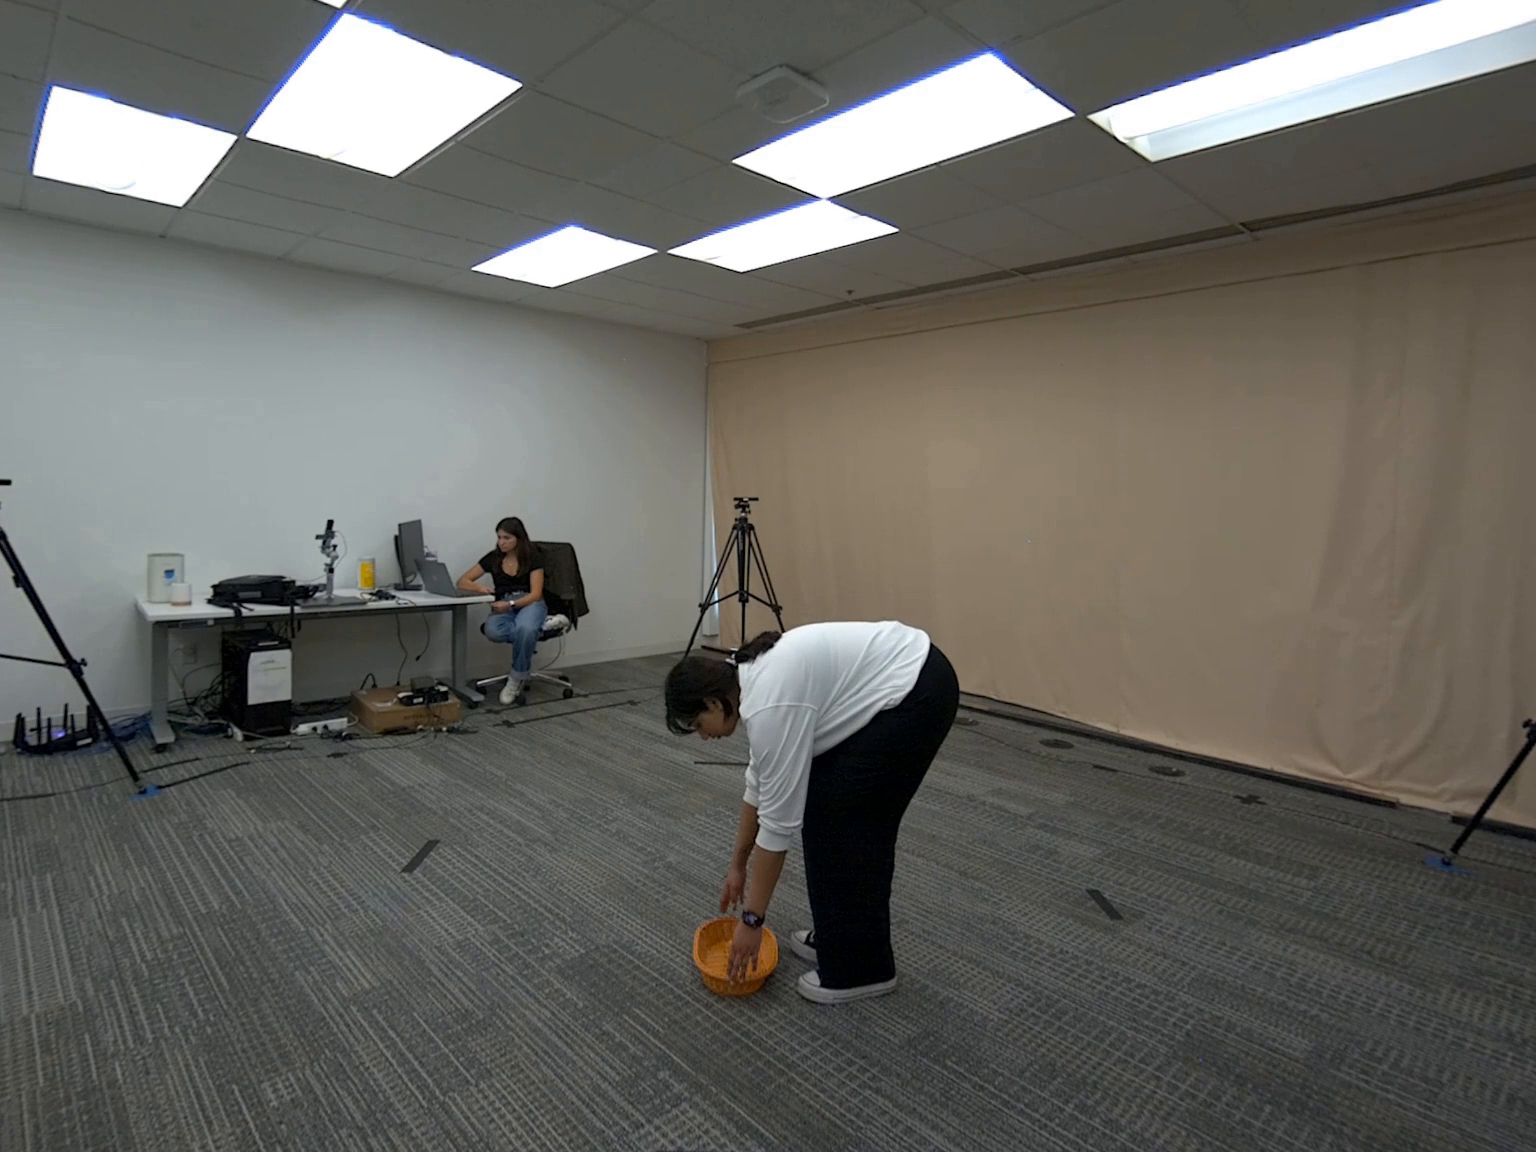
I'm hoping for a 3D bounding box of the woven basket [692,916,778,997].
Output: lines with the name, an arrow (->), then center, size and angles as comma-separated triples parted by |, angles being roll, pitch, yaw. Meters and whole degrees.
woven basket -> -0.105, 1.118, 2.488 | 0.253, 0.073, 0.351 | 4, 5, 1
